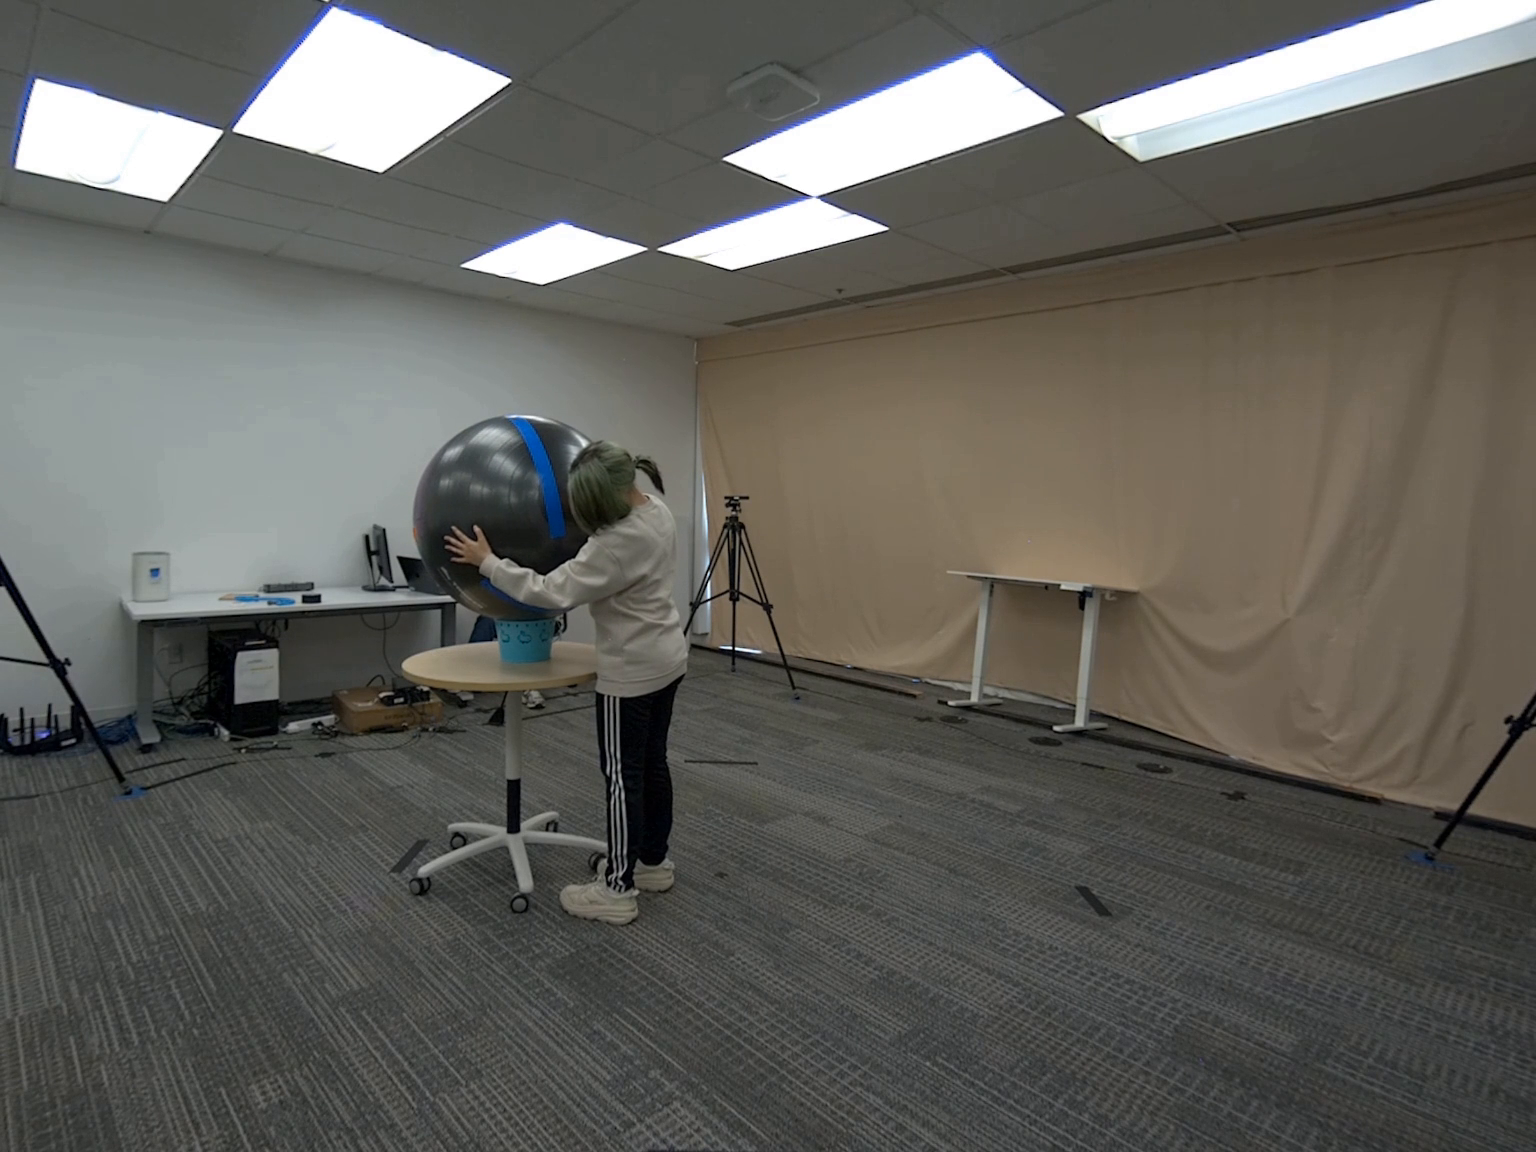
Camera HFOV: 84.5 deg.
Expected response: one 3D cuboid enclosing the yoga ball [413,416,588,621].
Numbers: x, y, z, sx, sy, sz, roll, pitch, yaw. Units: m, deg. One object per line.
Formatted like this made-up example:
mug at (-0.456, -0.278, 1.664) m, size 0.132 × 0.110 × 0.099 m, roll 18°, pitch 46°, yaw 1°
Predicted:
yoga ball at (-0.904, -0.207, 3.088) m, size 0.757 × 0.756 × 0.761 m, roll 1°, pitch 4°, yaw -1°
